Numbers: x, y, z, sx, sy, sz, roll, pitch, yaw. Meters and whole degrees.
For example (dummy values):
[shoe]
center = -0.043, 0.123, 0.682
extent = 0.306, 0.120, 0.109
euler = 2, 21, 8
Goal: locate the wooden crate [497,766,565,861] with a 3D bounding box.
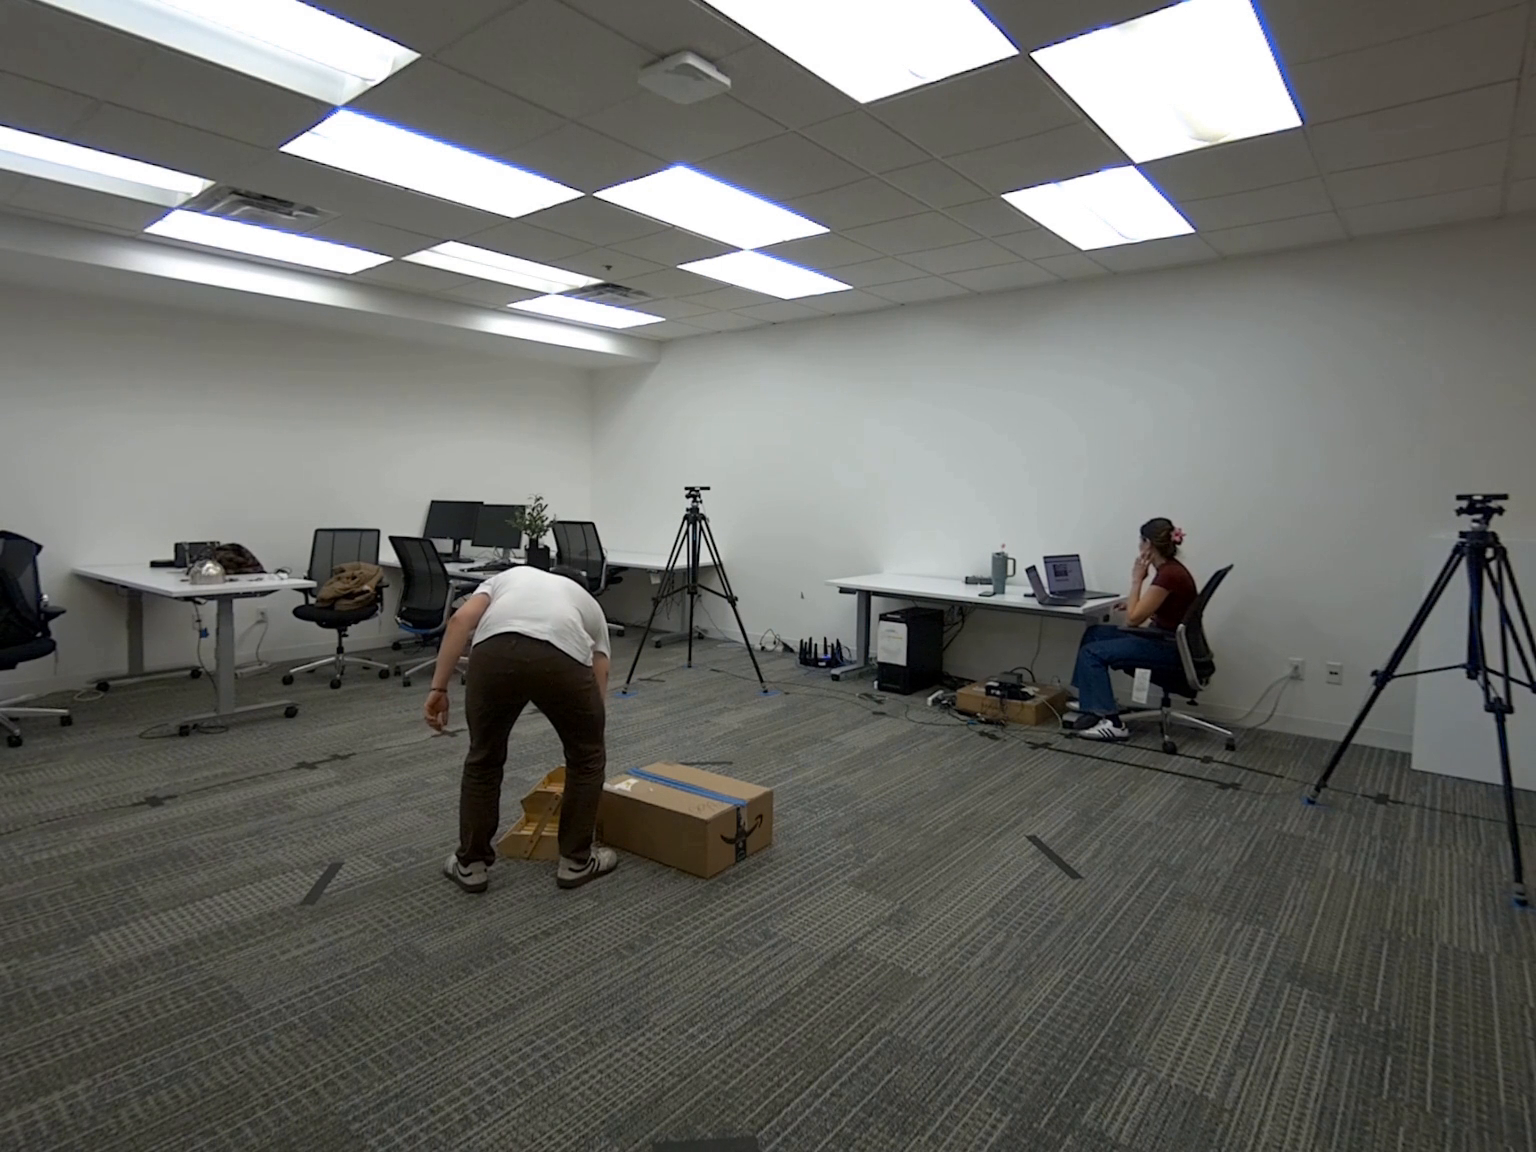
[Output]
[wooden crate]
center = -0.878, 0.904, 3.309
extent = 0.304, 0.272, 0.324
euler = 2, 5, 5
